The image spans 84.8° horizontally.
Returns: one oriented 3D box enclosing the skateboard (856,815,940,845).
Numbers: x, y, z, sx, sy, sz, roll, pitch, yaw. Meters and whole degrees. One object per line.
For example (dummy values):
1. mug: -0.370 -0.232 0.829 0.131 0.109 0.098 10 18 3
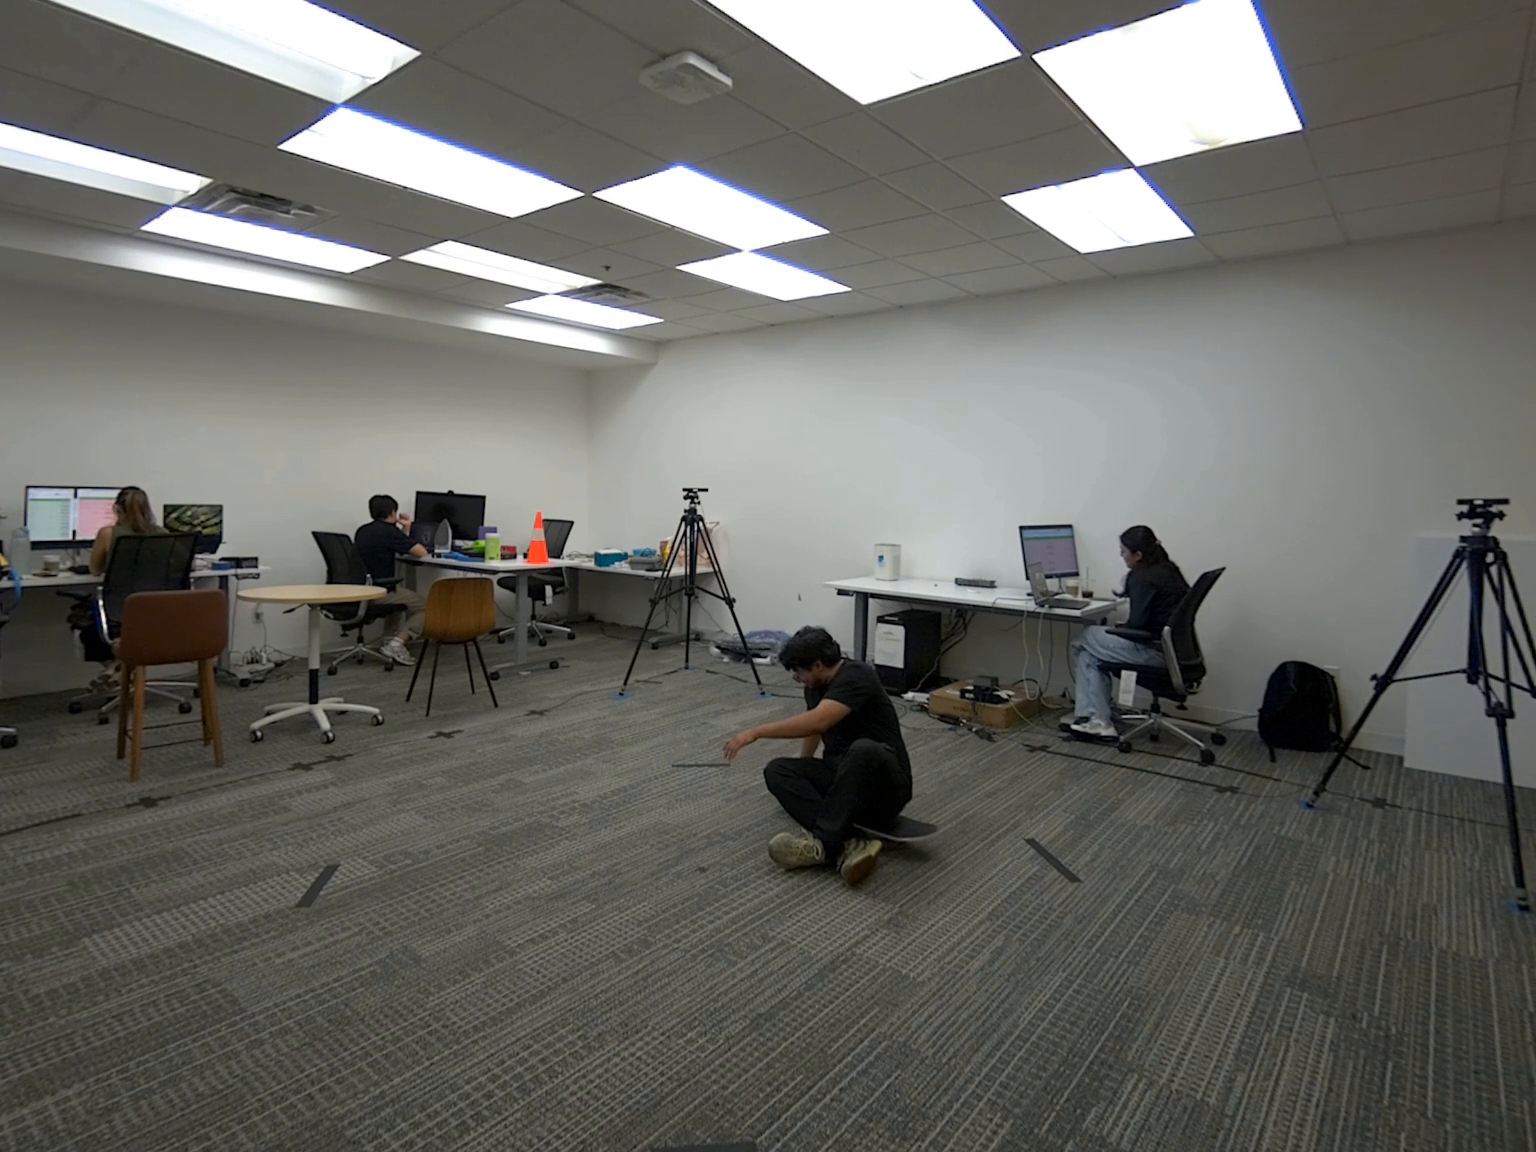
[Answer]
1. skateboard: 0.325 0.981 3.493 0.813 0.109 0.188 8 11 44
